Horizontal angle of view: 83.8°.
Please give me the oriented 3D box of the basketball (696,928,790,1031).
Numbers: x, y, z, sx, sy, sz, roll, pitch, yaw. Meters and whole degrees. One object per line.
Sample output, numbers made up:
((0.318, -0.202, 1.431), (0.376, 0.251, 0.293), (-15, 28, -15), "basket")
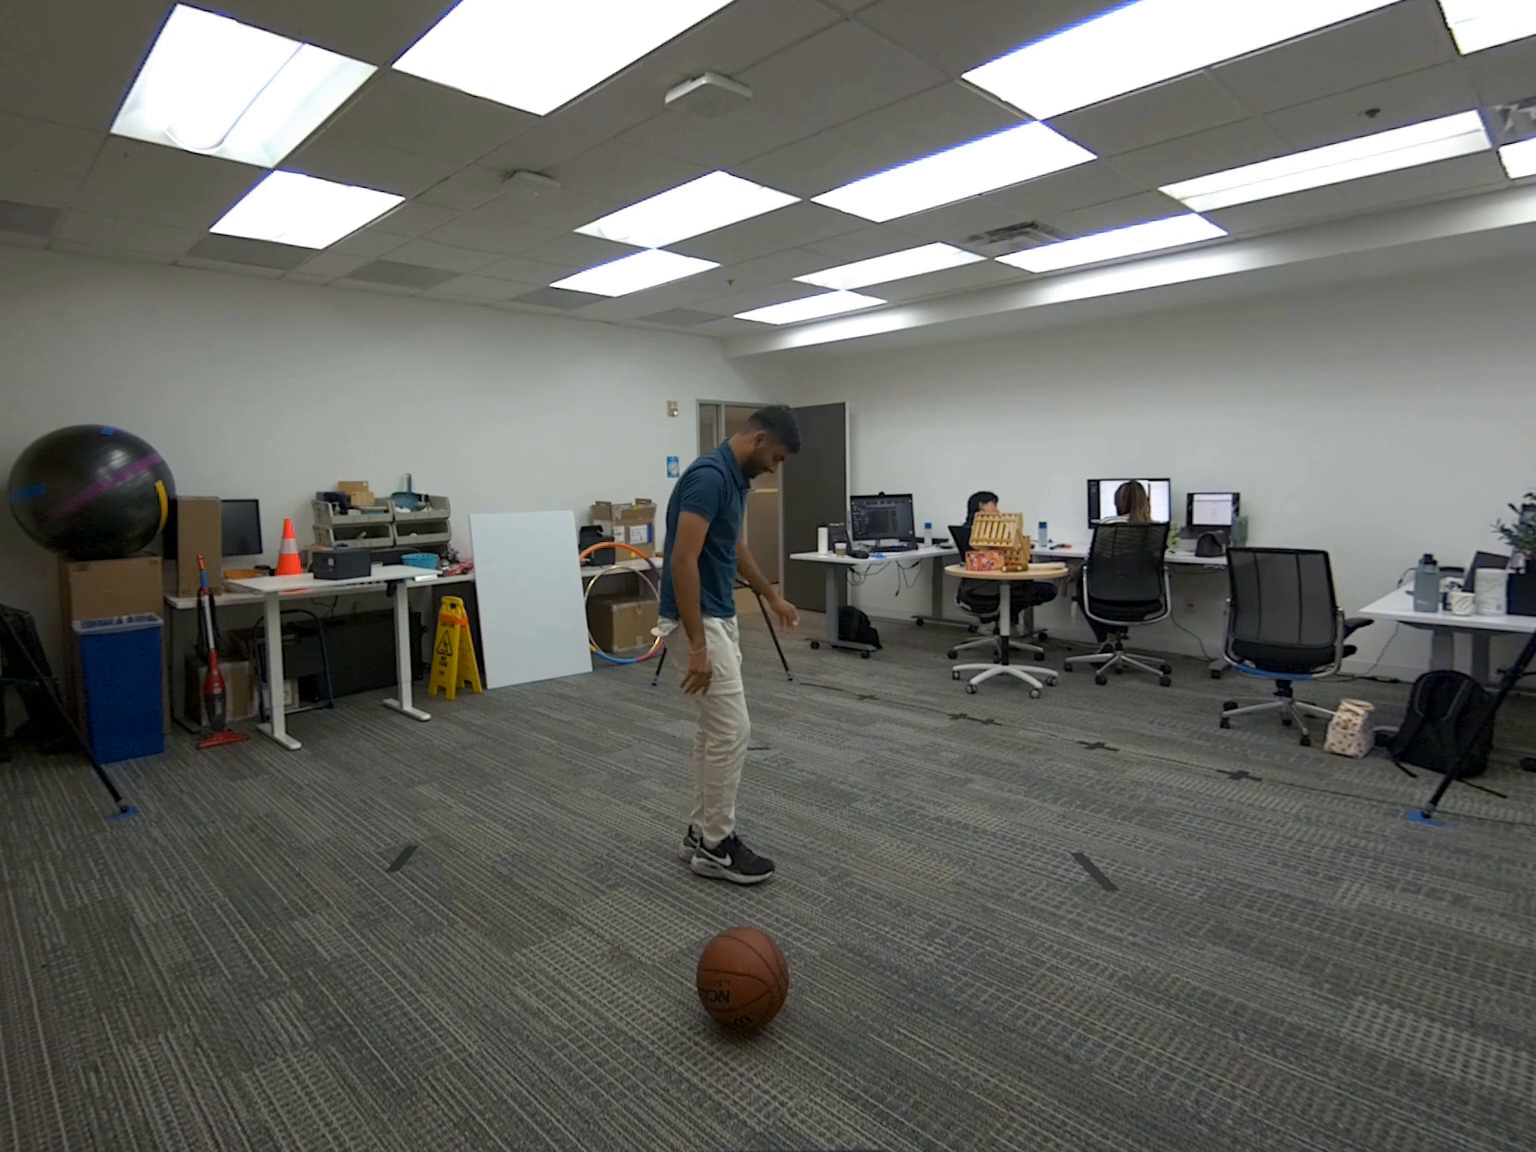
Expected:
((-0.054, 1.033, 2.193), (0.236, 0.235, 0.237), (-1, 5, -2), "basketball")
